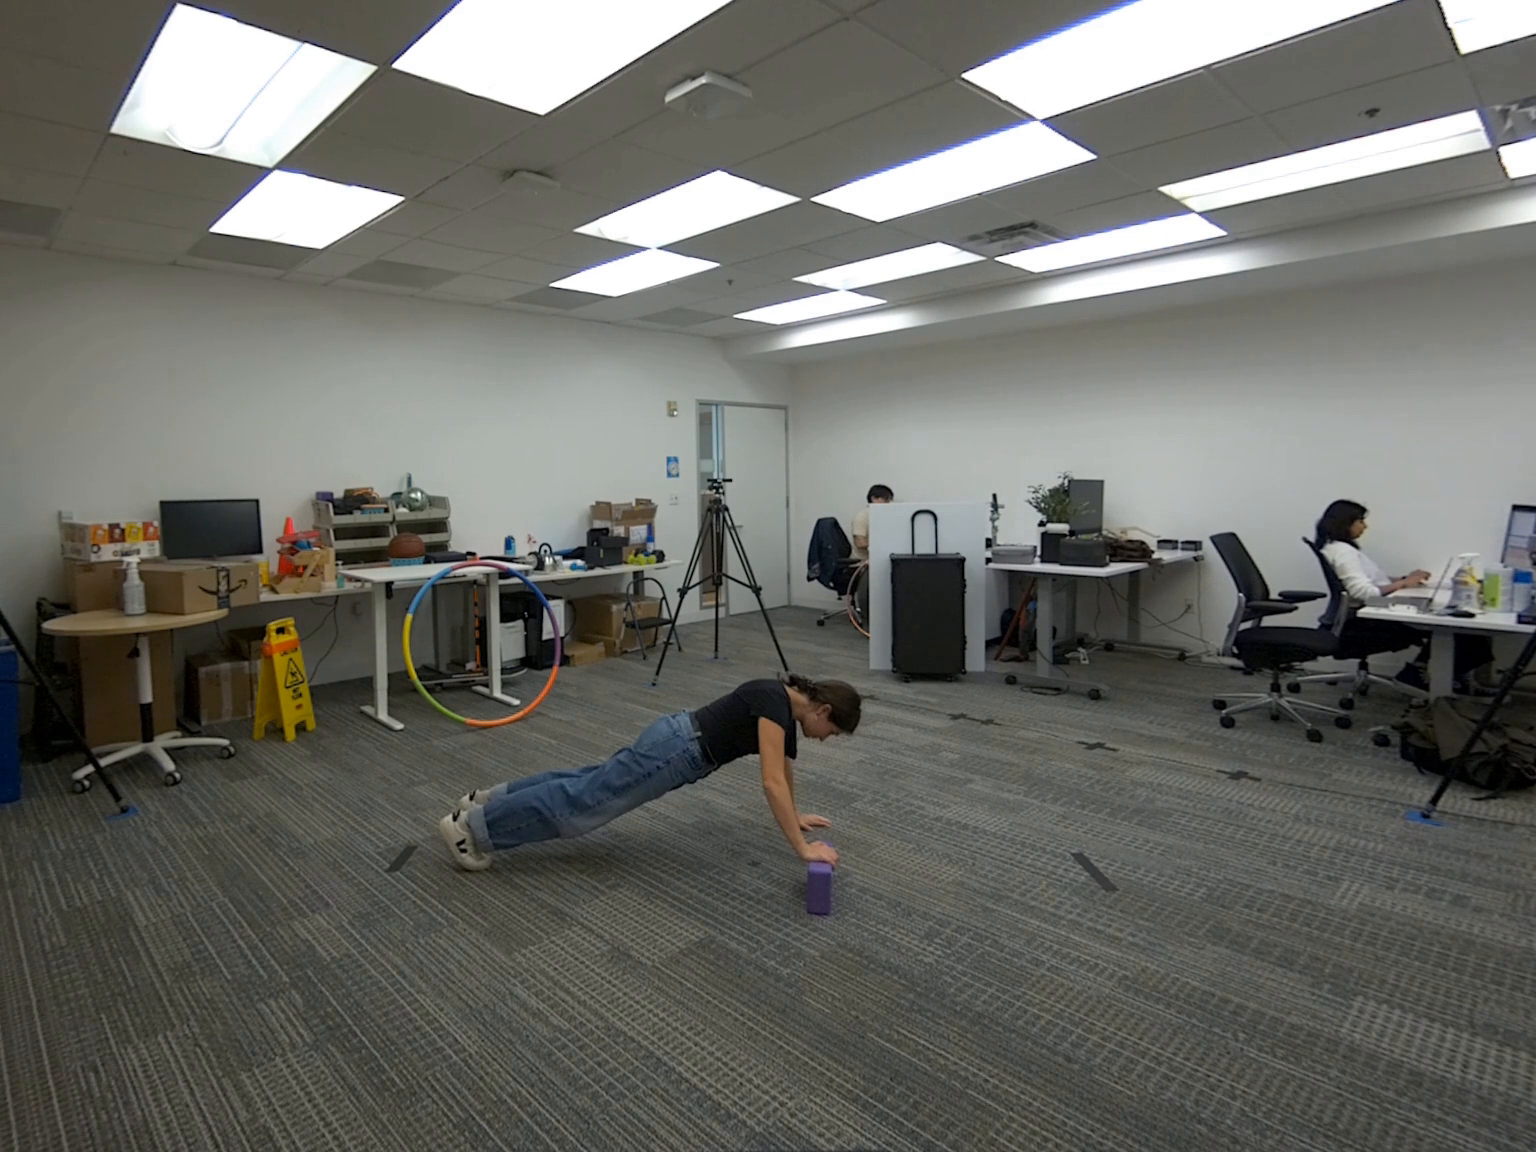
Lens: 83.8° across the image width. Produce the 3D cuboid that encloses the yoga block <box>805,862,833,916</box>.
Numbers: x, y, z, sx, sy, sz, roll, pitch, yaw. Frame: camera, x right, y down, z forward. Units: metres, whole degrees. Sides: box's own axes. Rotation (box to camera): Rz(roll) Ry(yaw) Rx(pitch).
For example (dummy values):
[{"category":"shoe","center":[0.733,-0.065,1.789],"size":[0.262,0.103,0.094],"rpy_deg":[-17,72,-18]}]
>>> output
[{"category":"yoga block","center":[0.171,0.999,2.839],"size":[0.077,0.148,0.229],"rpy_deg":[0,5,4]}]
